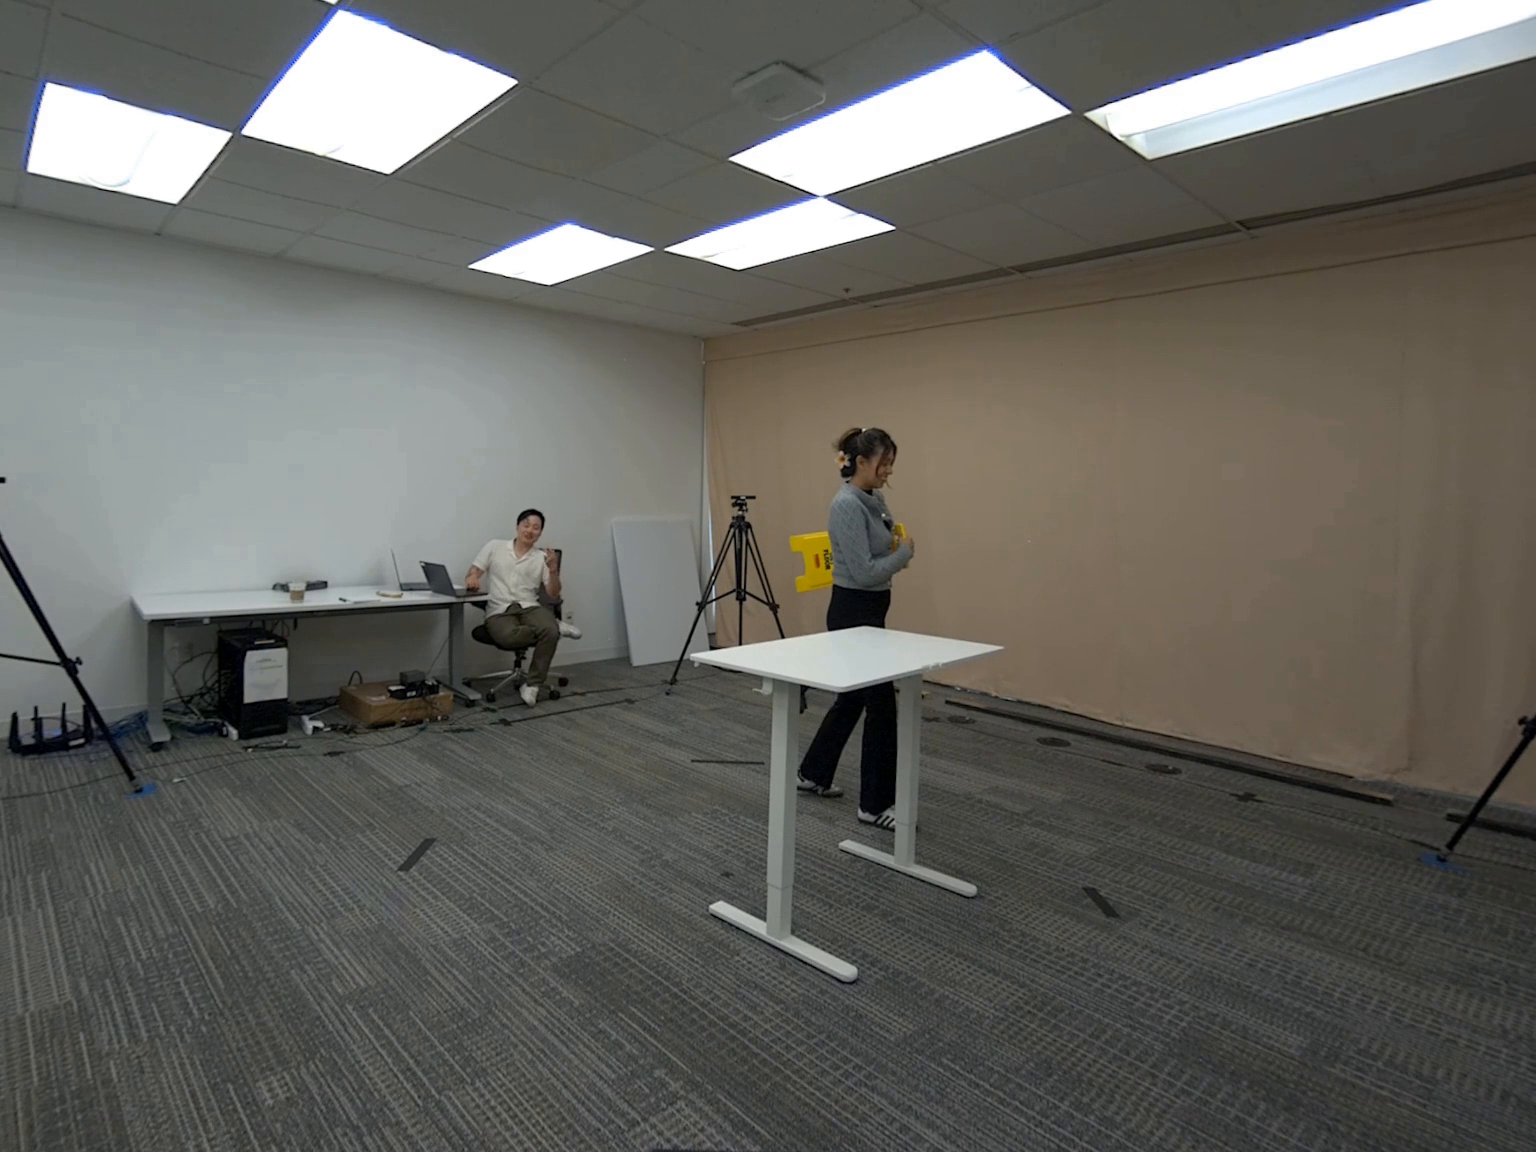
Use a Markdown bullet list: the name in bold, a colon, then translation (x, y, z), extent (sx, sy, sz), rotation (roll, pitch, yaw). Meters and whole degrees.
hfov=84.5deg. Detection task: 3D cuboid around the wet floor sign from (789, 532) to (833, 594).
- **wet floor sign**: translation (0.414, -0.101, 3.971), extent (0.284, 0.283, 0.657), rotation (-4, -3, -35)
